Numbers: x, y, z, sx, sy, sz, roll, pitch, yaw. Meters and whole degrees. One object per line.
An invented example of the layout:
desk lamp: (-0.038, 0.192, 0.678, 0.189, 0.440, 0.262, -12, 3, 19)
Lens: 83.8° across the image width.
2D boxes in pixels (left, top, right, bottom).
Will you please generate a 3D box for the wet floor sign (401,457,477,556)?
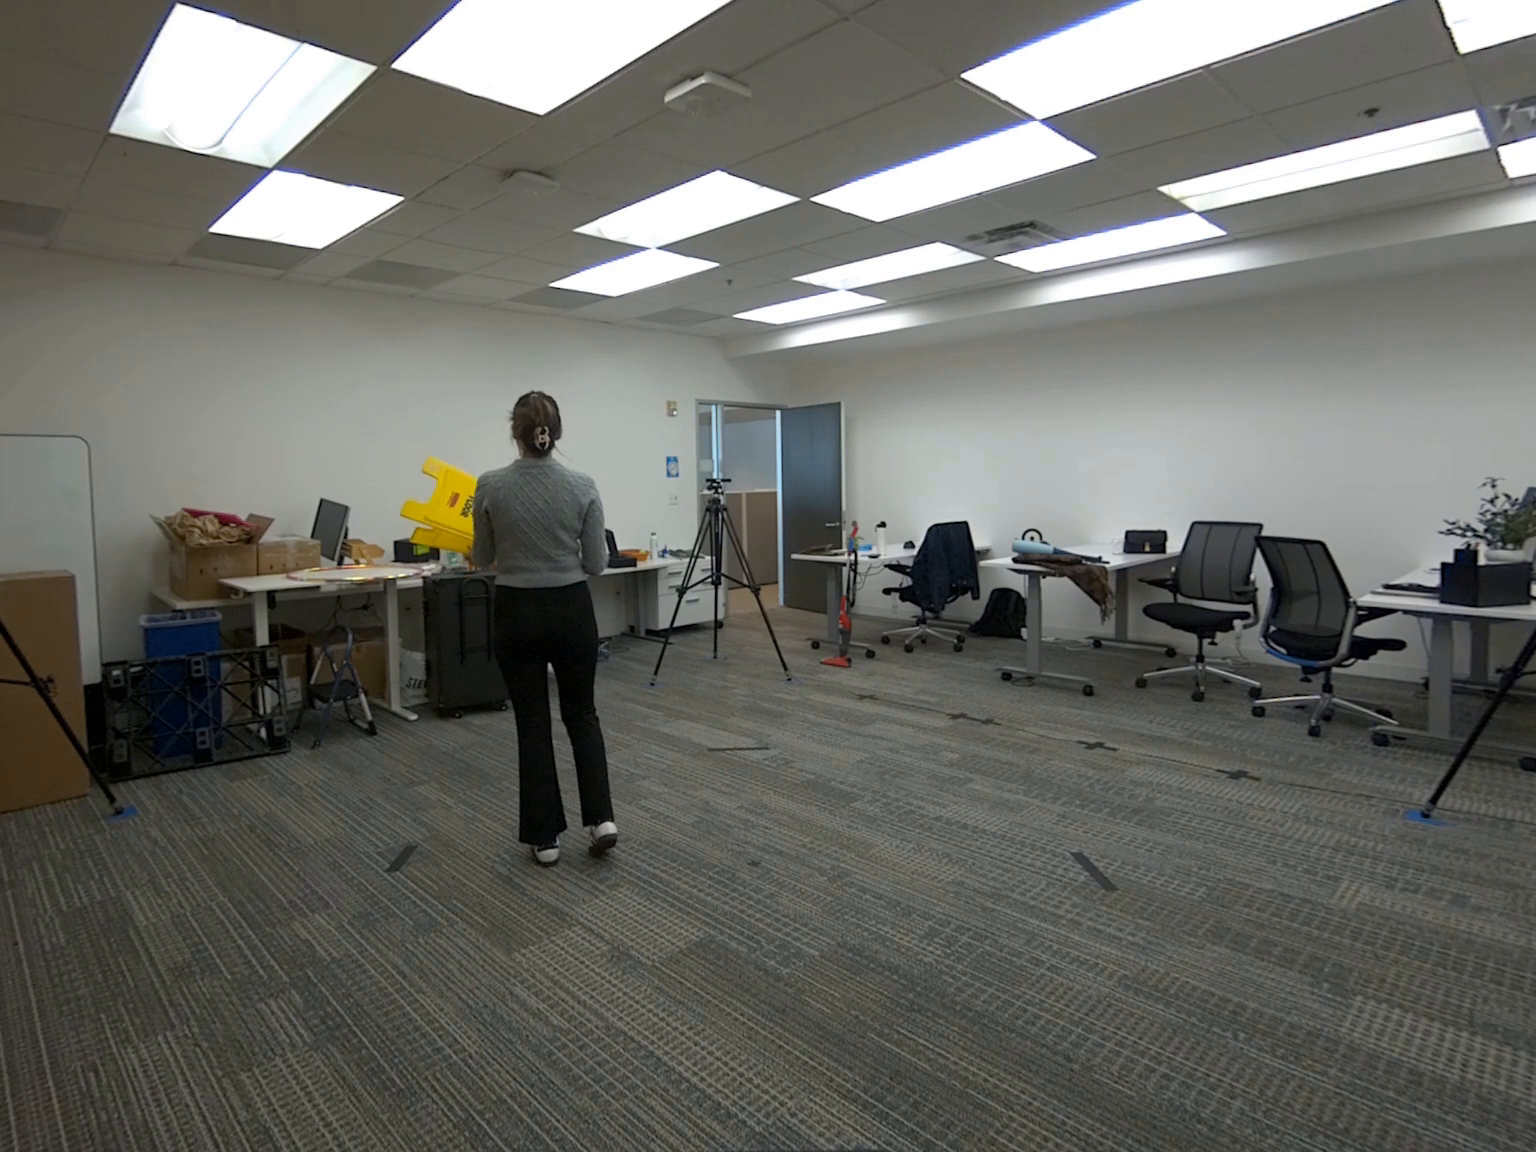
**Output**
wet floor sign: (-1.103, -0.209, 3.478, 0.643, 0.286, 0.287, 18, -26, -4)
